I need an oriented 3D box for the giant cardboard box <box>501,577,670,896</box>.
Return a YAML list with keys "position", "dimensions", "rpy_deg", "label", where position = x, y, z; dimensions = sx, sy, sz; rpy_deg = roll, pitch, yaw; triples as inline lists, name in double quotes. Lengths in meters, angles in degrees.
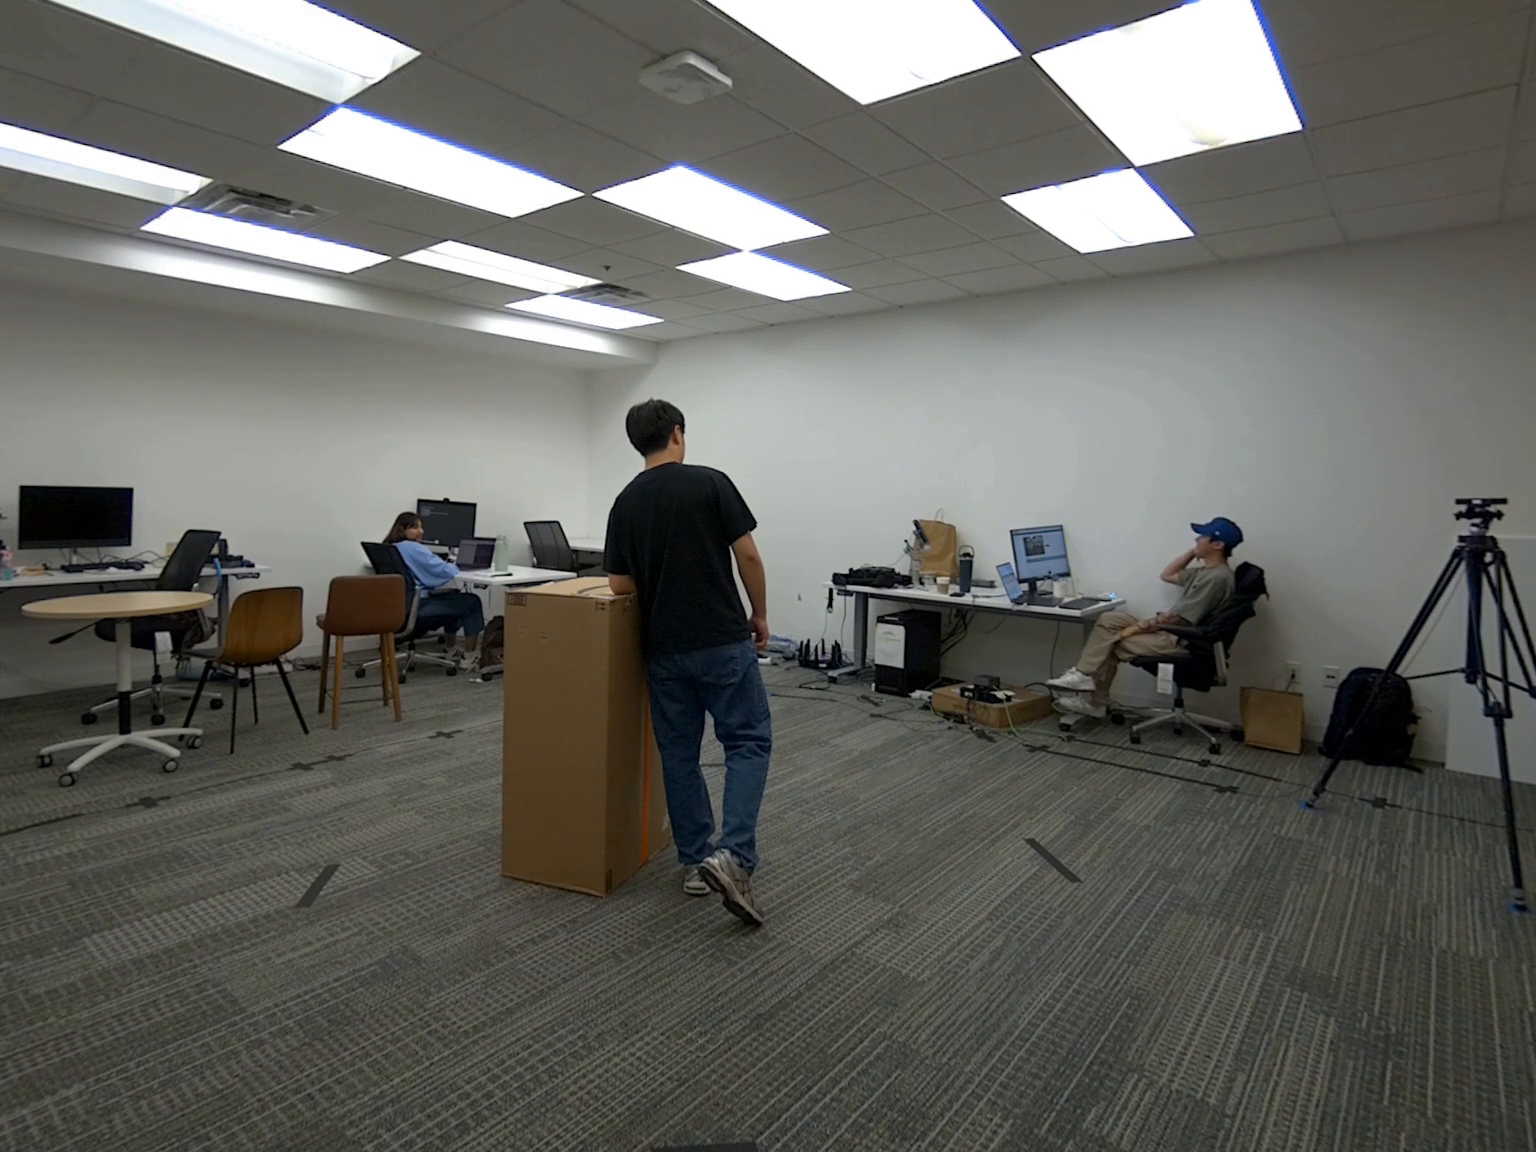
- position: [-0.667, 0.541, 3.196]
  dimensions: [0.457, 1.024, 0.572]
  rpy_deg: [3, 3, 20]
  label: "giant cardboard box"
